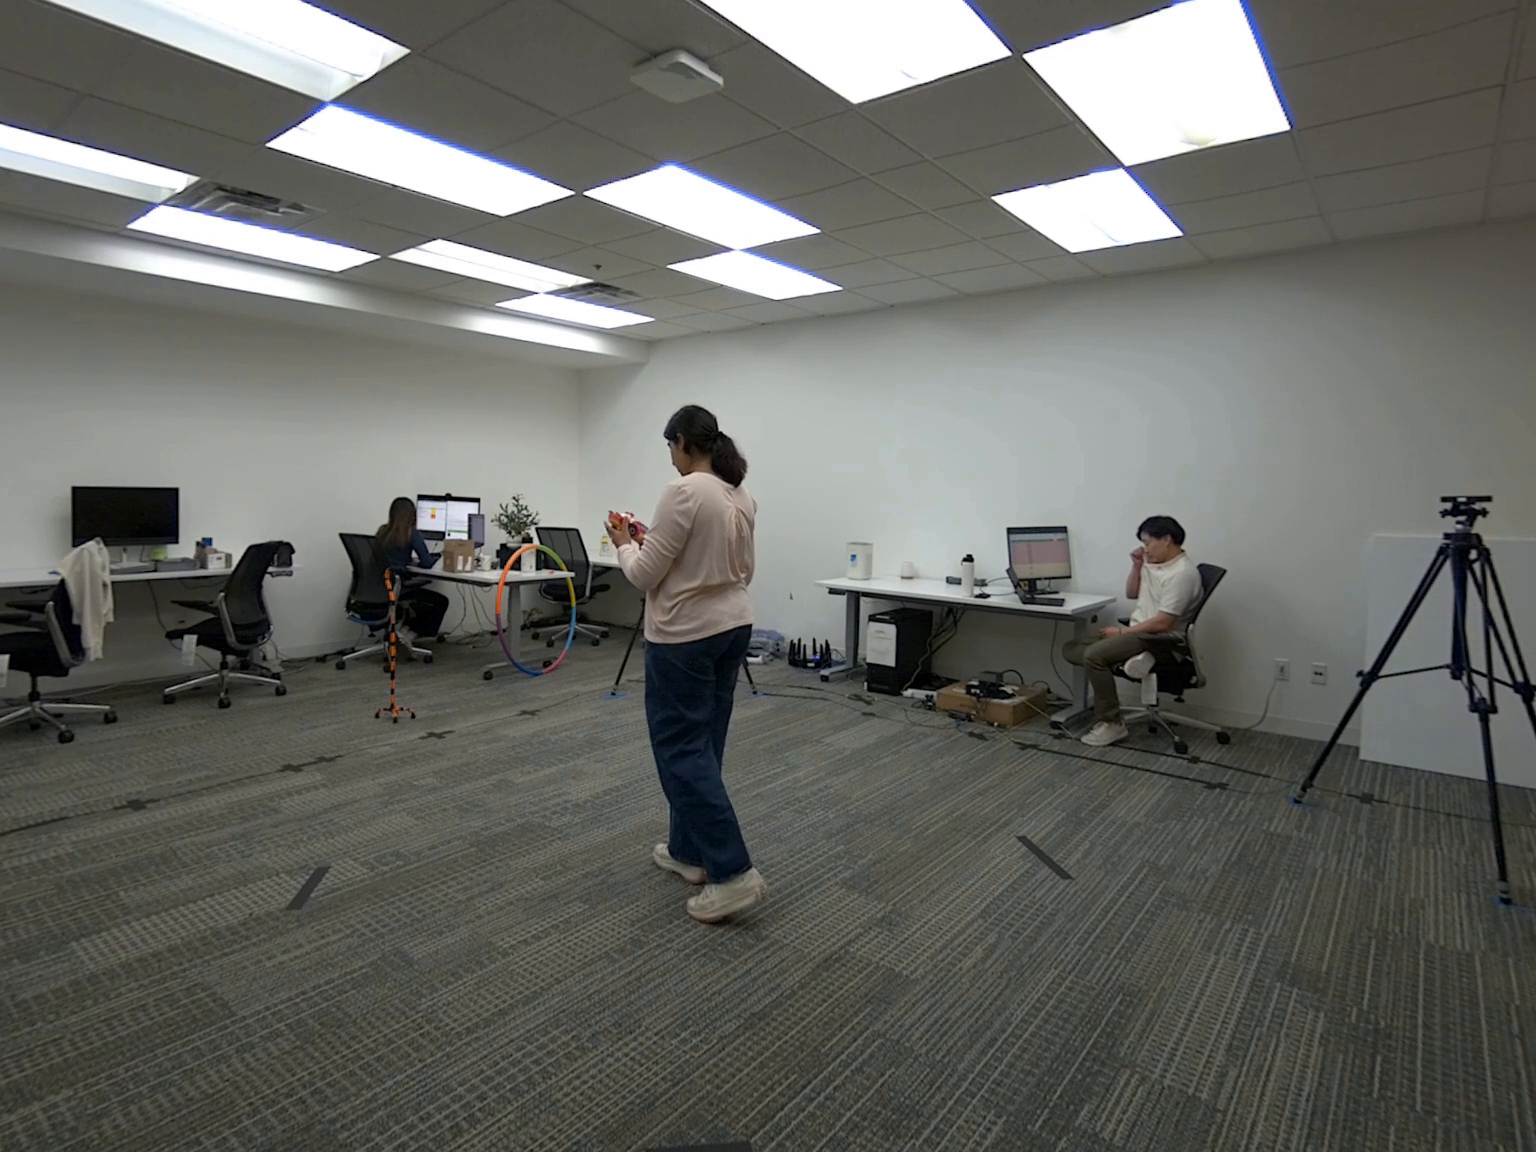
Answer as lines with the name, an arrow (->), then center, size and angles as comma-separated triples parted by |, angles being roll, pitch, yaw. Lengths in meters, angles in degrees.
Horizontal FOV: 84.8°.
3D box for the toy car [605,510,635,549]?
toy car -> -0.504, -0.159, 3.137 | 0.135, 0.083, 0.245 | 15, -27, 53
